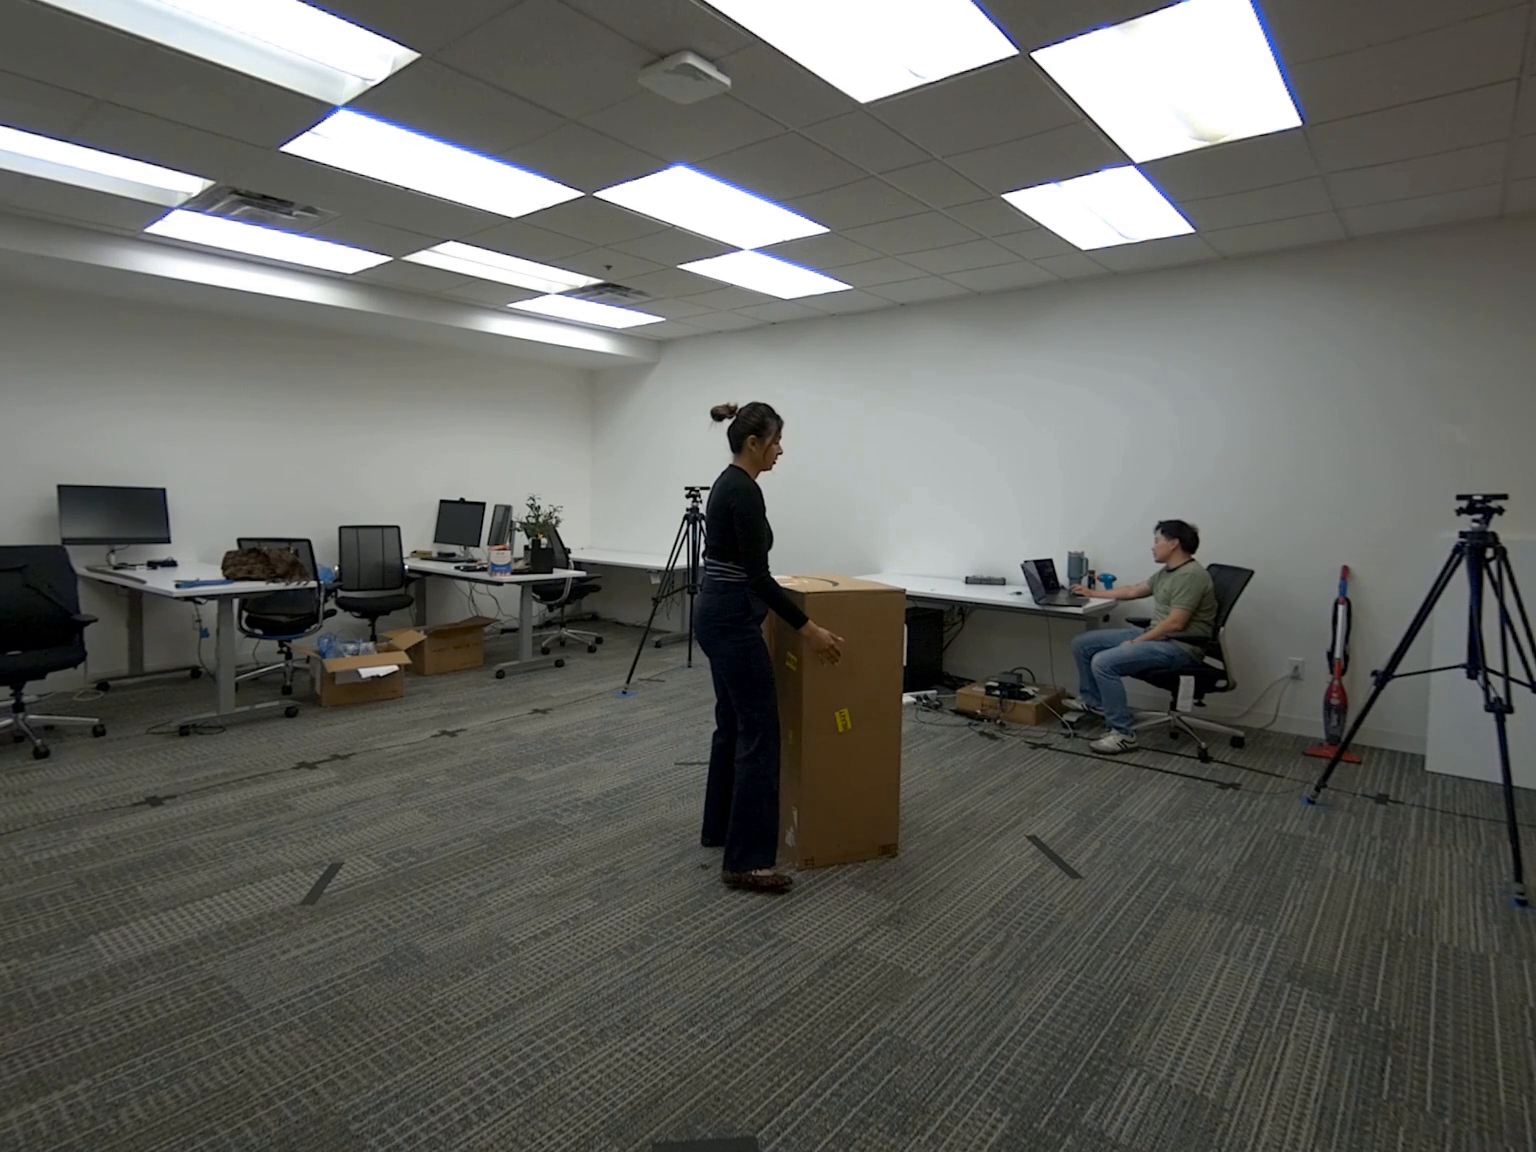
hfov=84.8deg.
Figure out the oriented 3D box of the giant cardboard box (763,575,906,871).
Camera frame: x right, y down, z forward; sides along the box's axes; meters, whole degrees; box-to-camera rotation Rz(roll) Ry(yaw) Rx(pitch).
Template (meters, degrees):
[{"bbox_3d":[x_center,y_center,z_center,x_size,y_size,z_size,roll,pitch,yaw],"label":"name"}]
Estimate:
[{"bbox_3d":[0.194,0.533,3.408,0.417,1.022,0.592,0,4,-23],"label":"giant cardboard box"}]
